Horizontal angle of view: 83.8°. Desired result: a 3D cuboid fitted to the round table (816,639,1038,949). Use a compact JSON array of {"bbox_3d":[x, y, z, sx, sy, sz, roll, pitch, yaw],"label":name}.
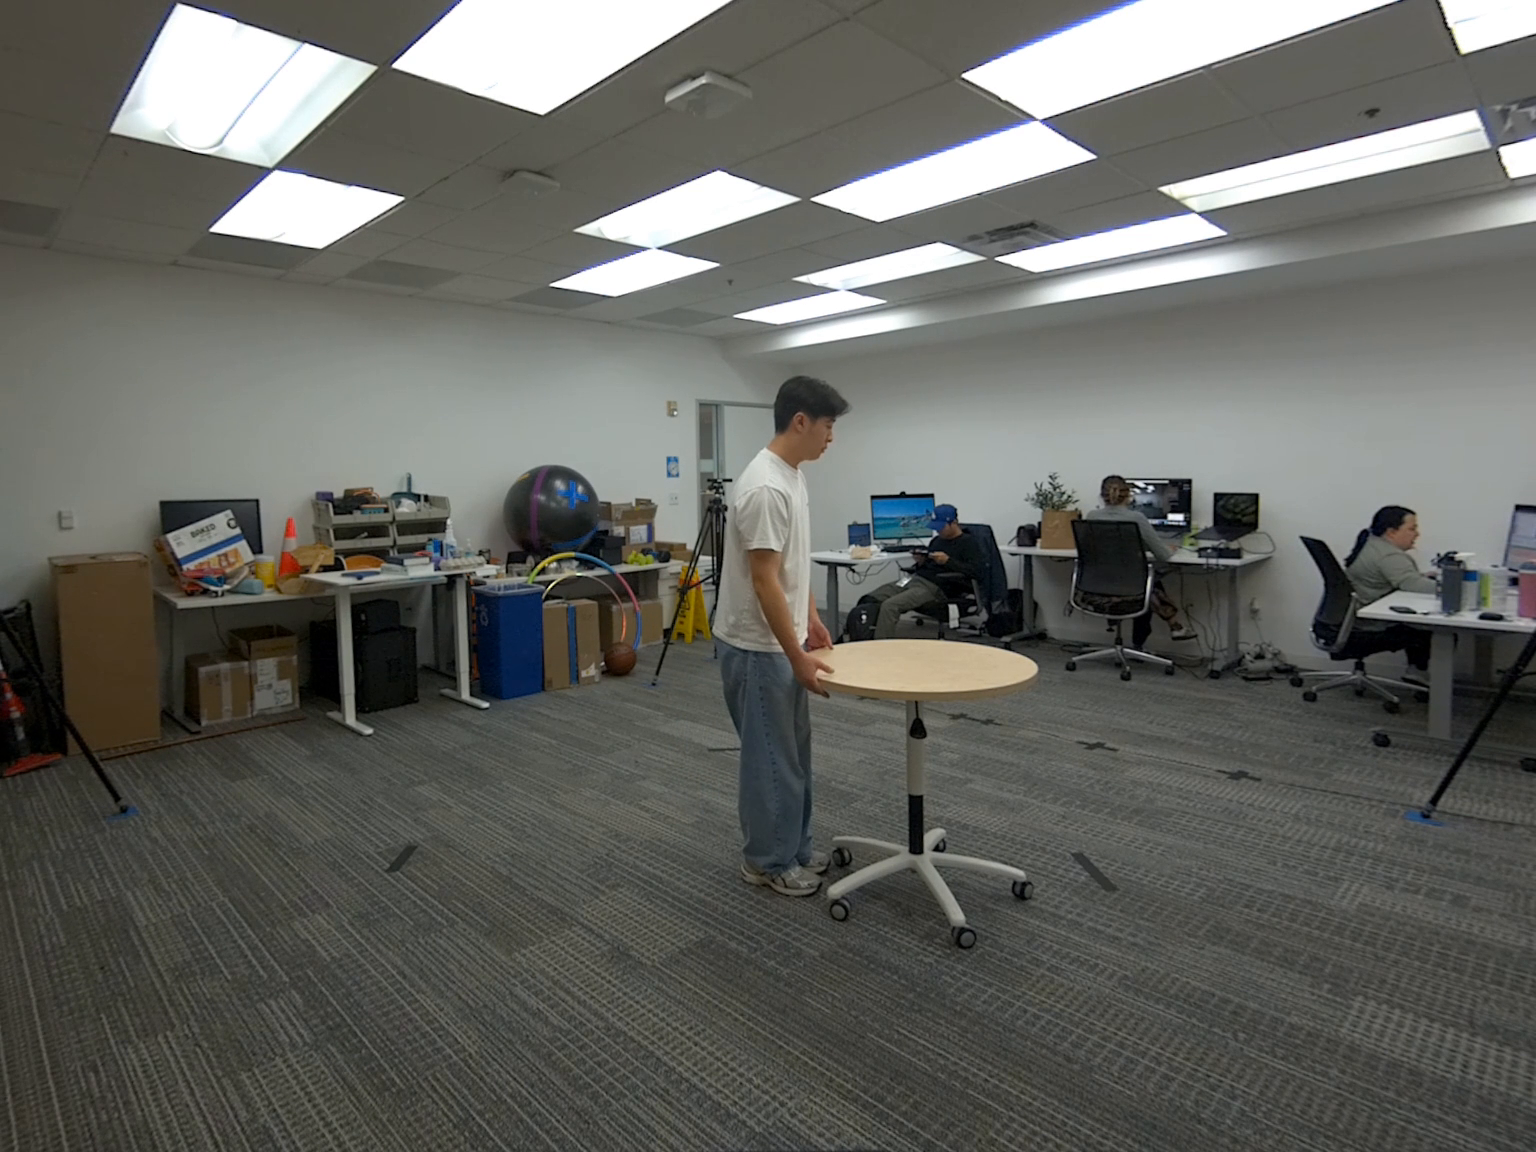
[{"bbox_3d":[0.492,0.675,2.843,0.763,0.791,0.768,-1,5,-2],"label":"round table"}]
